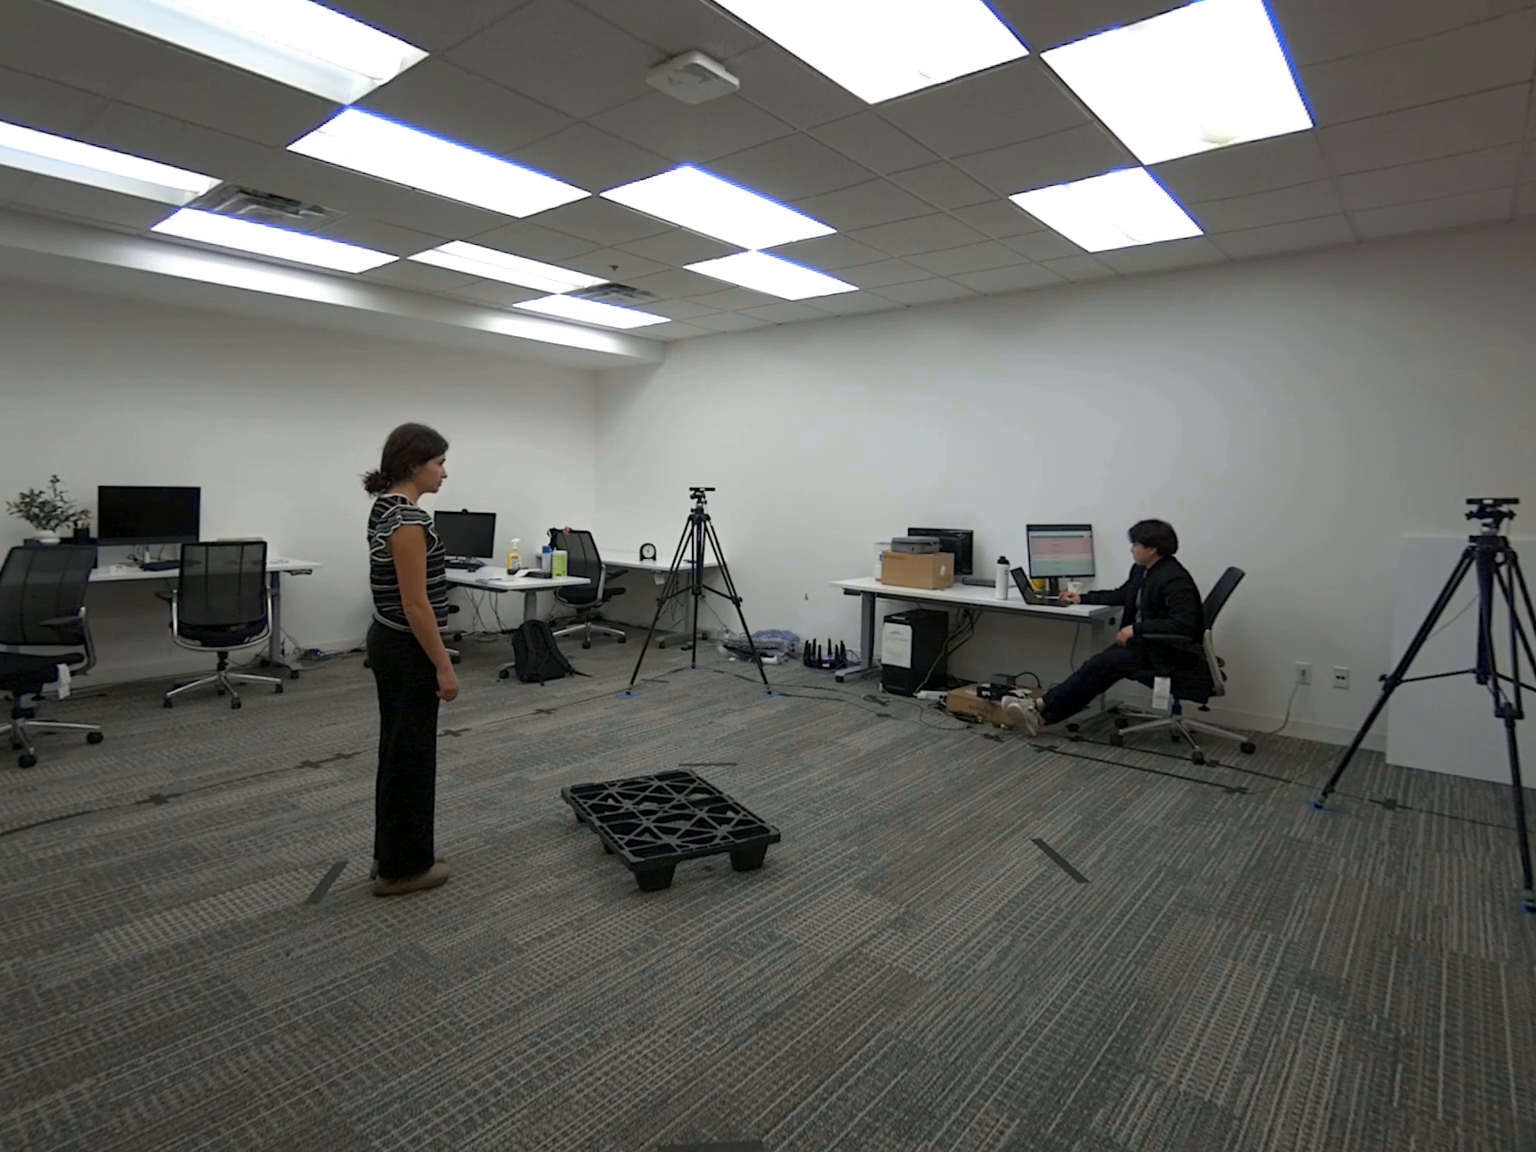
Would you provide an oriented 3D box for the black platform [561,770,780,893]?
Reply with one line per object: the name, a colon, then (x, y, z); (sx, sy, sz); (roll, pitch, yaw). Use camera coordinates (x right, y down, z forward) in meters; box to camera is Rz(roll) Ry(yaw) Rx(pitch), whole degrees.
black platform: (-0.418, 0.971, 3.338); (0.589, 0.143, 0.830); (-2, 6, -29)
